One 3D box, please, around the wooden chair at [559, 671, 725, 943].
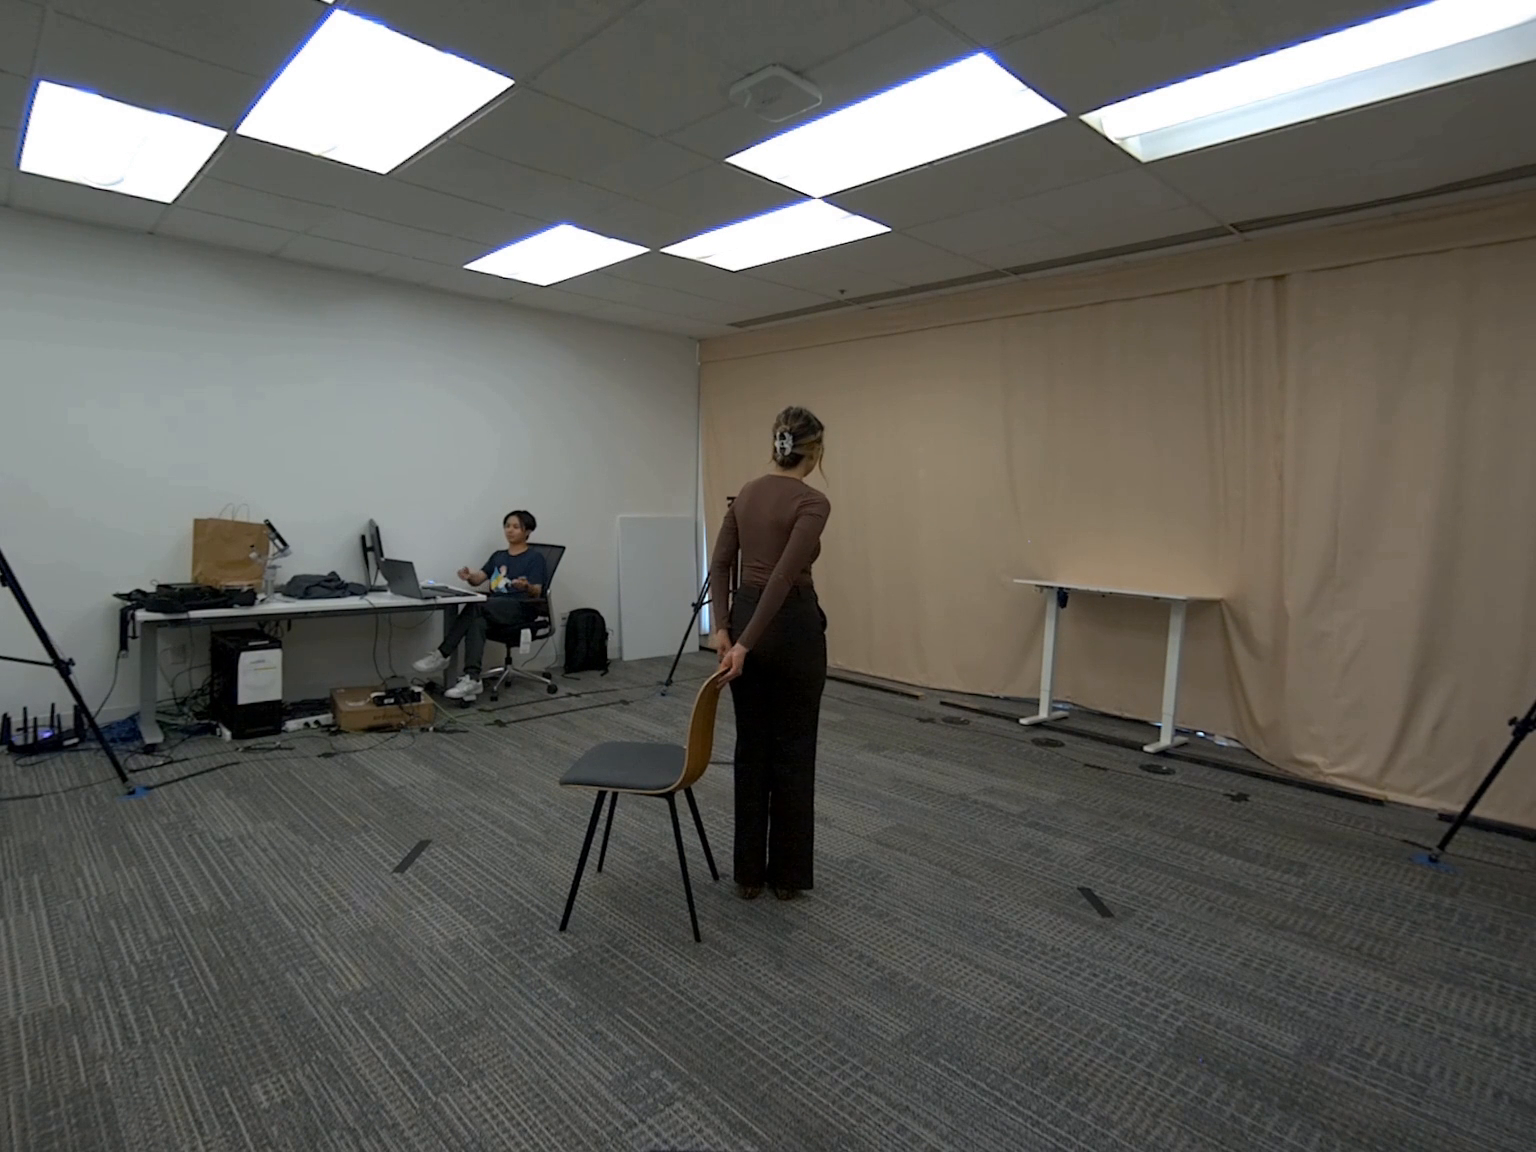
[{"bbox_3d":[-0.424,0.695,2.838,0.526,0.875,0.476,6,4,6],"label":"wooden chair"}]
